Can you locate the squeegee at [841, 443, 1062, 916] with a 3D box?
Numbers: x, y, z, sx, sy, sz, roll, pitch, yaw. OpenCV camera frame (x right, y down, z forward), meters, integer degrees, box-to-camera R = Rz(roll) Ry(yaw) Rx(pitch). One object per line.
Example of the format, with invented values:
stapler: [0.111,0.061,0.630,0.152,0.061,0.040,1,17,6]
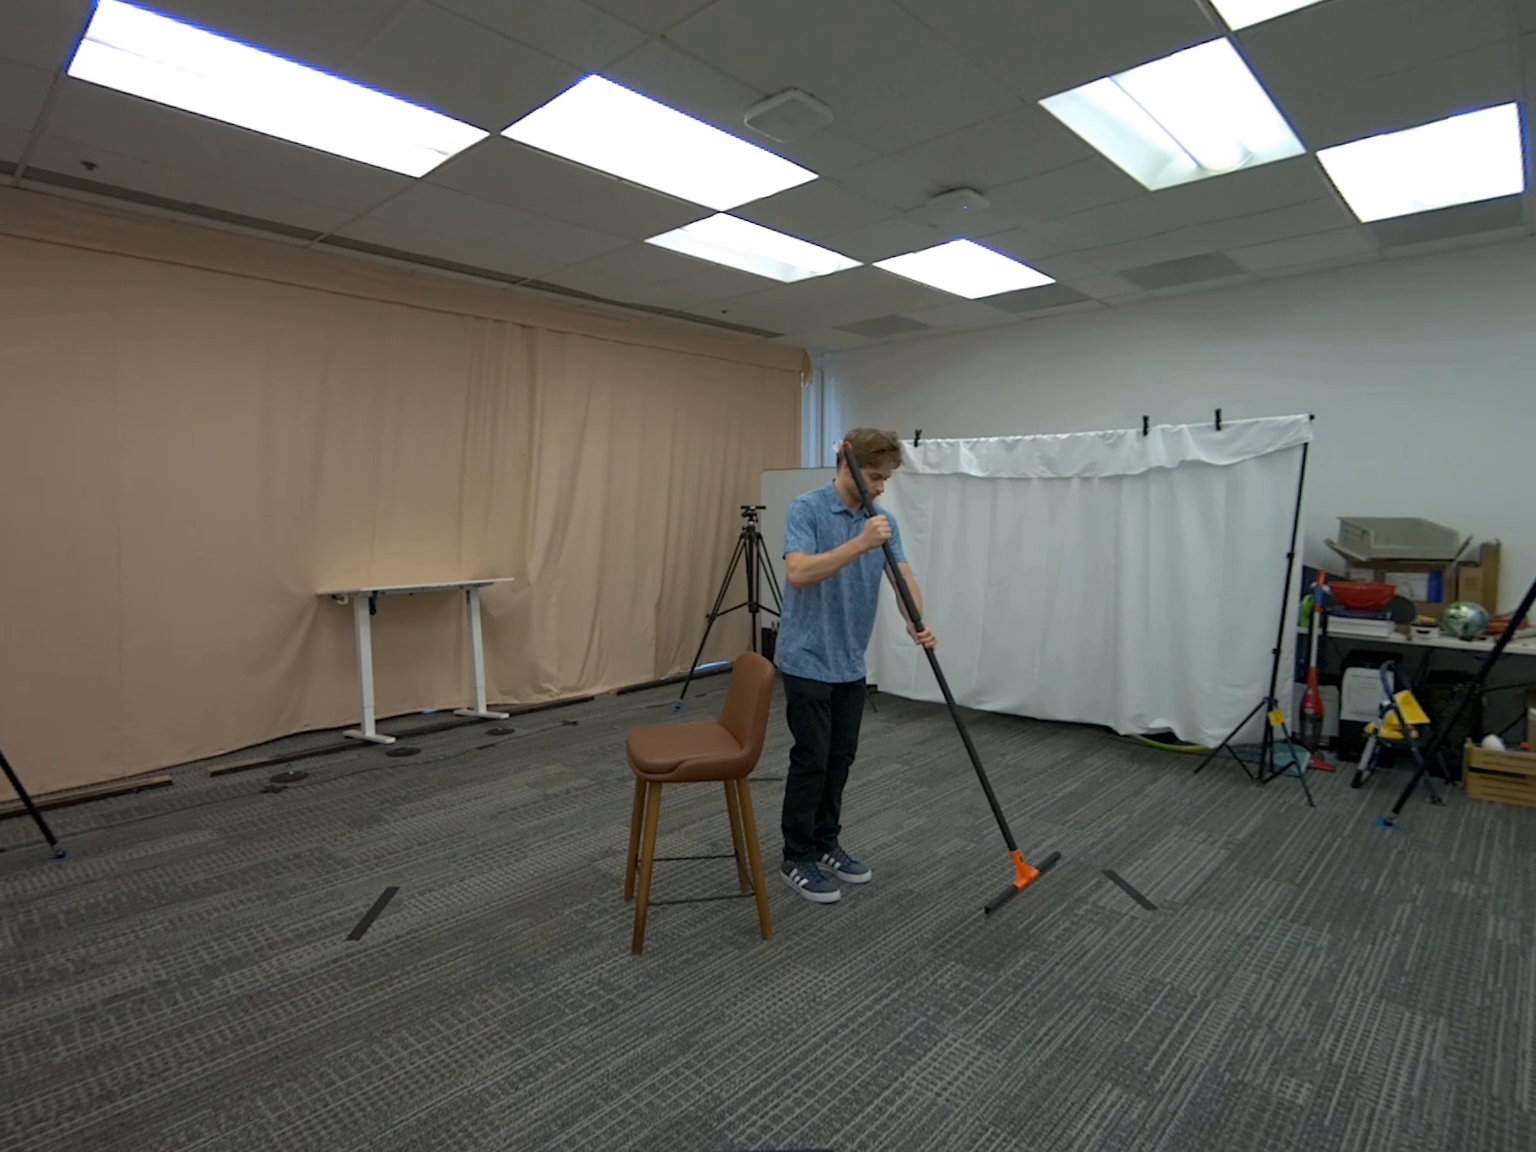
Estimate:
squeegee: [0.561,0.273,2.749,0.425,1.554,0.054,-10,-15,-43]
